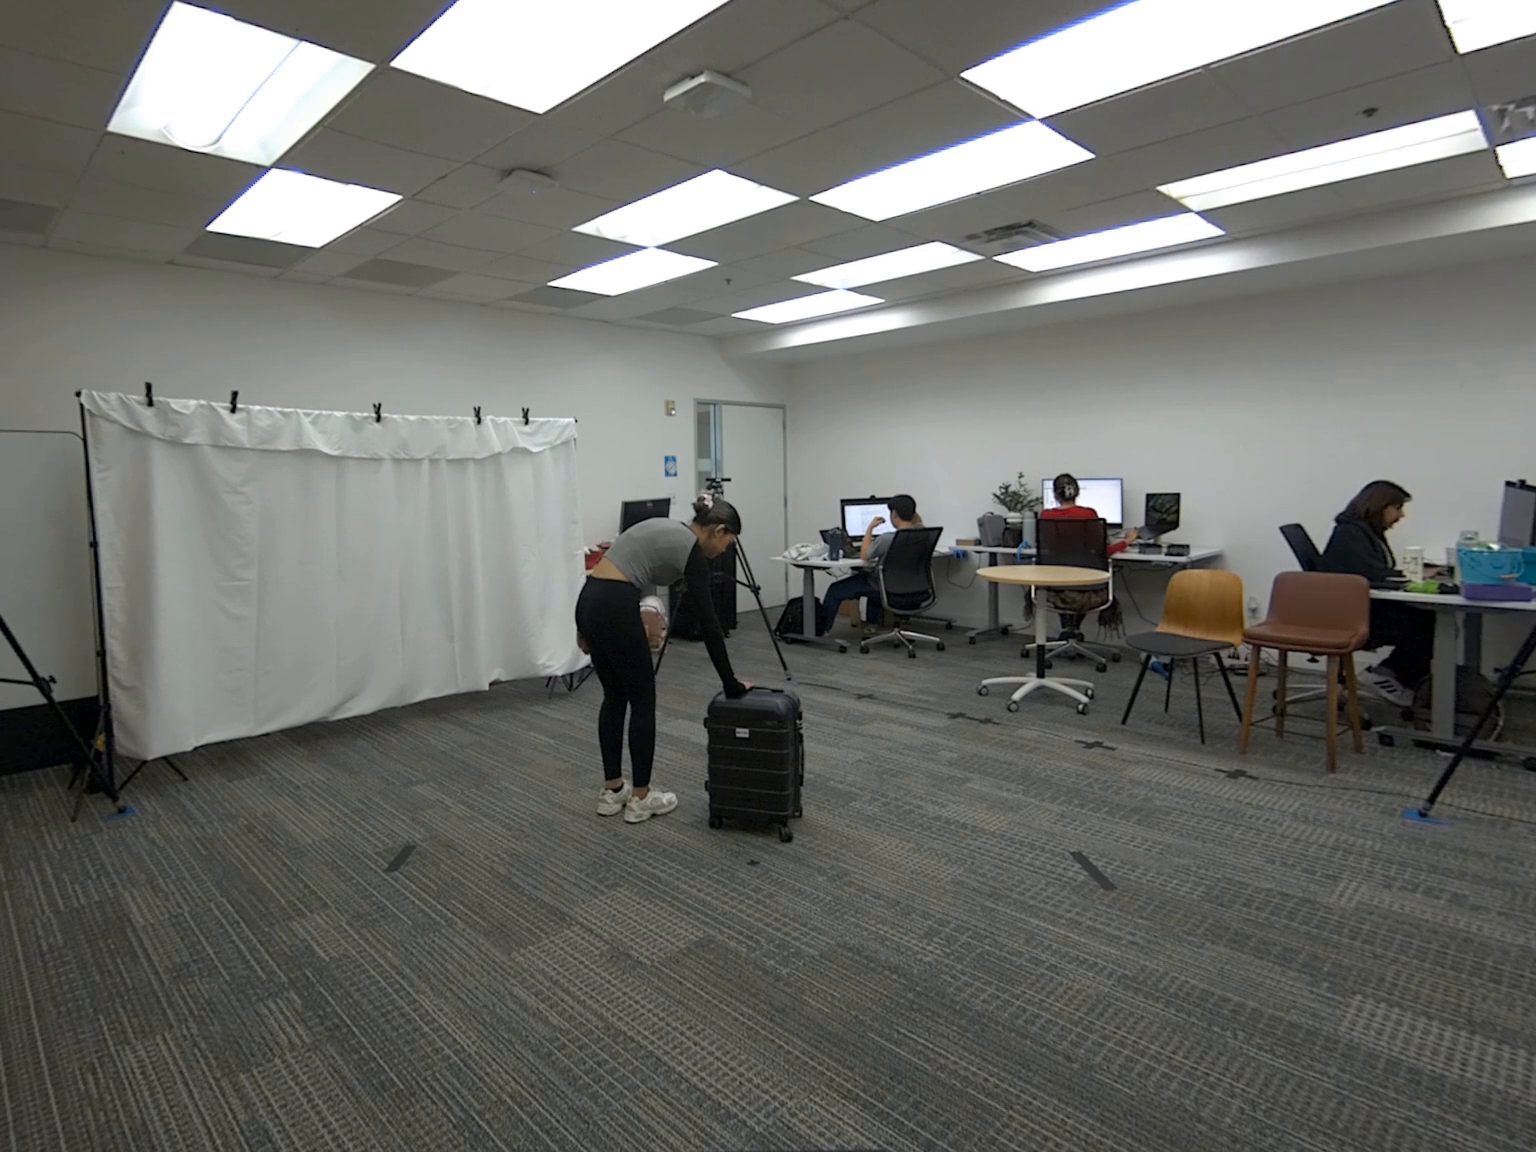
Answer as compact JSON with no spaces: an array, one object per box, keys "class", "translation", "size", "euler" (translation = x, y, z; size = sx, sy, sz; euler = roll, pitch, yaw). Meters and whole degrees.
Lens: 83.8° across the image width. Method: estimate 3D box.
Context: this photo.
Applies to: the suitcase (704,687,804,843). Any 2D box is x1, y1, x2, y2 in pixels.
[{"class":"suitcase","translation":[-0.047,0.732,3.437],"size":[0.382,0.547,0.245],"euler":[1,5,20]}]
